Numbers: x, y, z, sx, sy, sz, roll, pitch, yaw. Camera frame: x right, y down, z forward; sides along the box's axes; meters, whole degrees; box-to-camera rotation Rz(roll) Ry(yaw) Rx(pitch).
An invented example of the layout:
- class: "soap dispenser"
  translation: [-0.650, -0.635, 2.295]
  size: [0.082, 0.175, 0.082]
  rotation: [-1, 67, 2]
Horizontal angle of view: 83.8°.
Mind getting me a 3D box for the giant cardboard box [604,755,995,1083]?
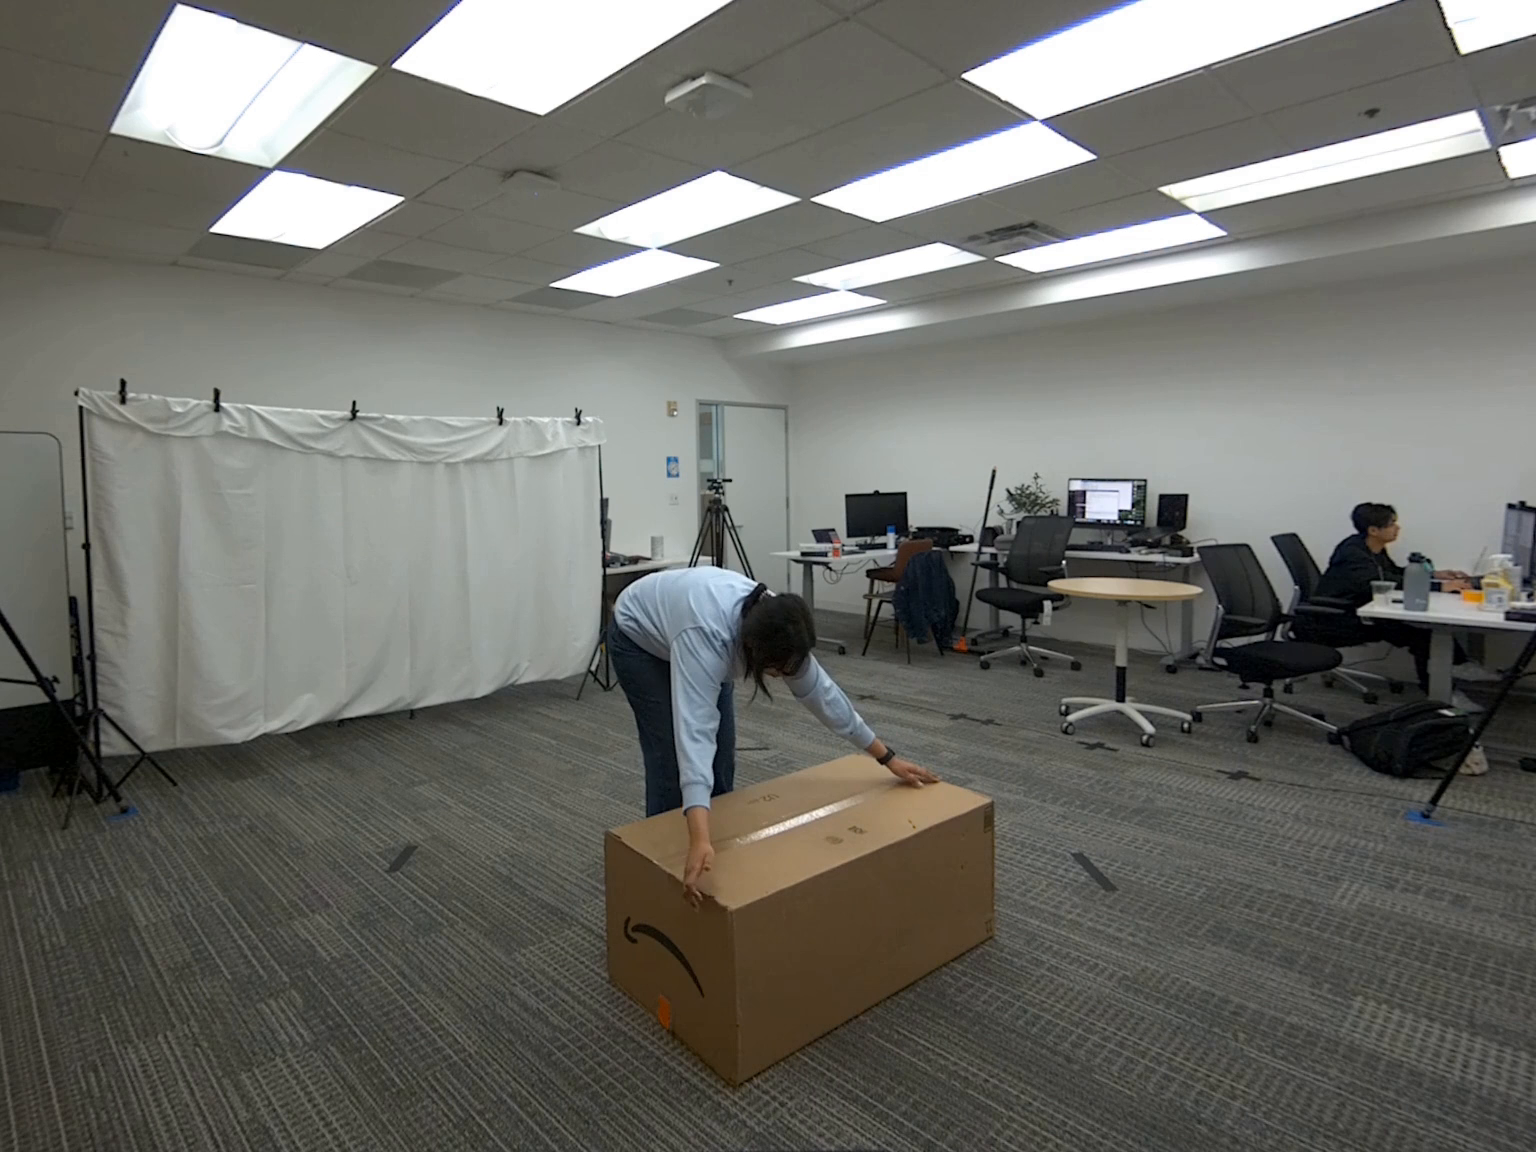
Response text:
- class: "giant cardboard box"
  translation: [0.118, 0.902, 2.485]
  size: [0.999, 0.424, 0.595]
  rotation: [-6, 8, -39]
